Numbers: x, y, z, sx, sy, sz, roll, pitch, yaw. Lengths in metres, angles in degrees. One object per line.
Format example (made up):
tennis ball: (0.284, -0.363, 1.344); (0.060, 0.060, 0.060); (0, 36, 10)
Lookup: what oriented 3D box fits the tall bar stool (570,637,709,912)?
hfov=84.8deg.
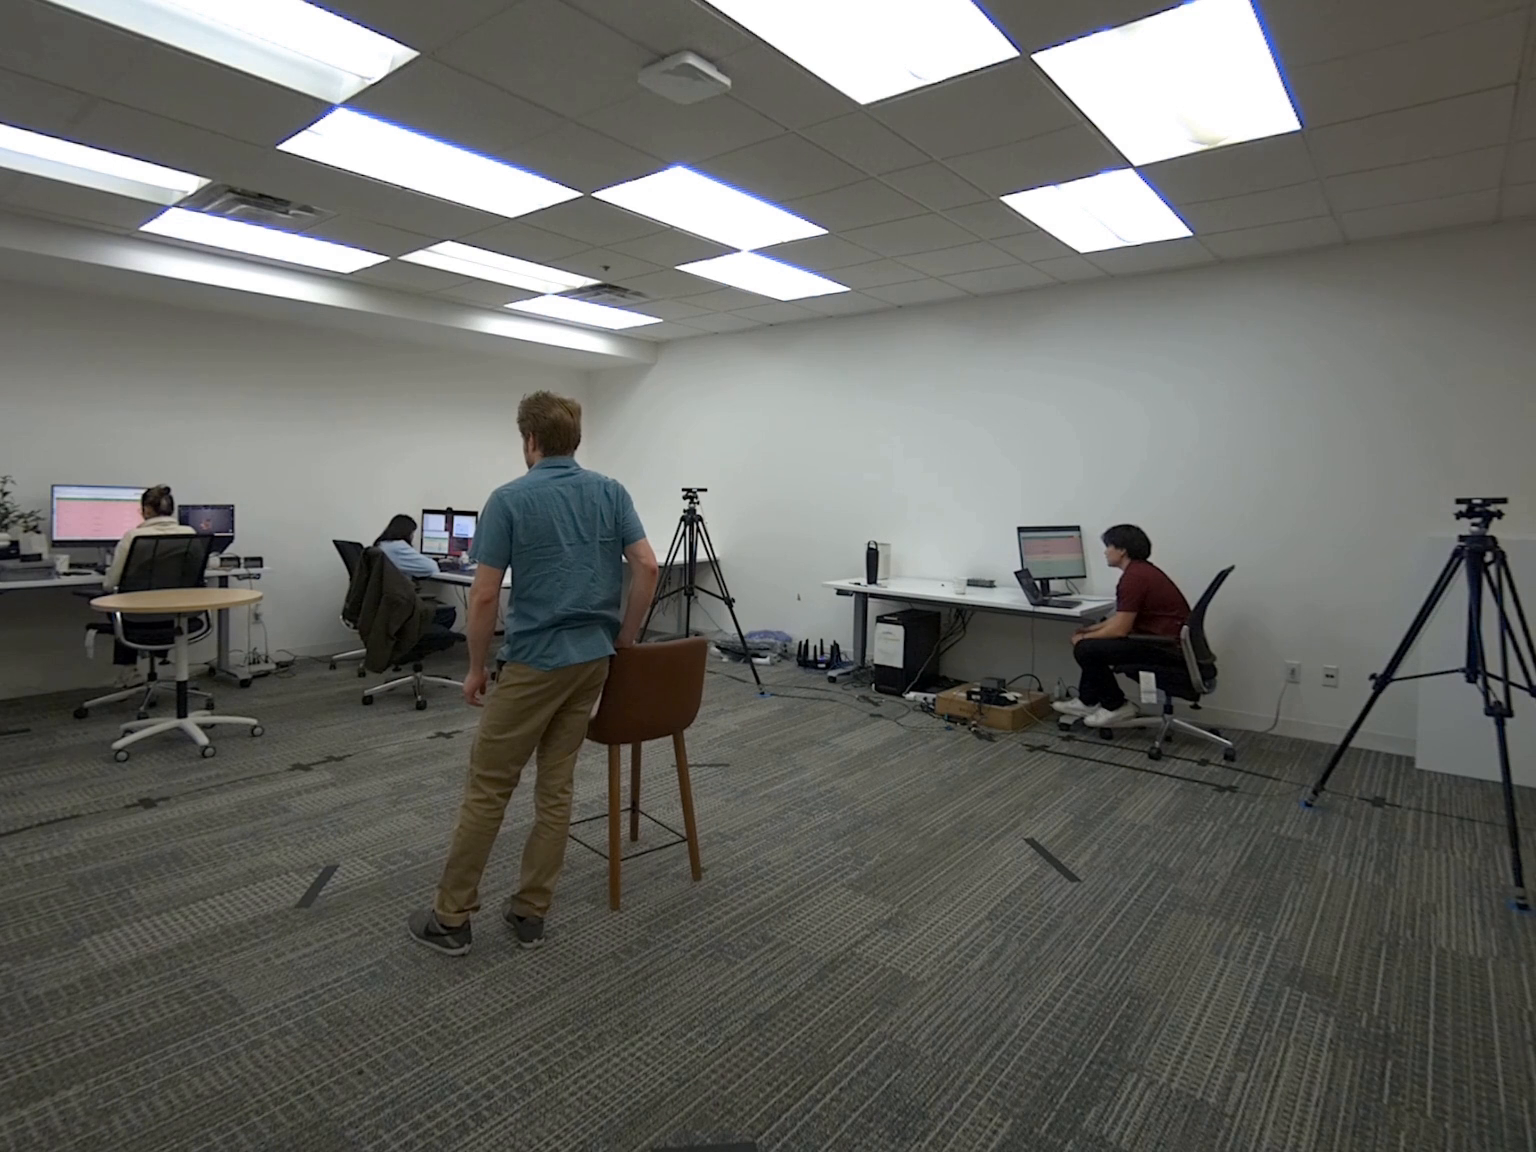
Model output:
tall bar stool: (-0.515, 0.636, 3.055); (0.442, 0.886, 0.484); (-2, 6, -42)
